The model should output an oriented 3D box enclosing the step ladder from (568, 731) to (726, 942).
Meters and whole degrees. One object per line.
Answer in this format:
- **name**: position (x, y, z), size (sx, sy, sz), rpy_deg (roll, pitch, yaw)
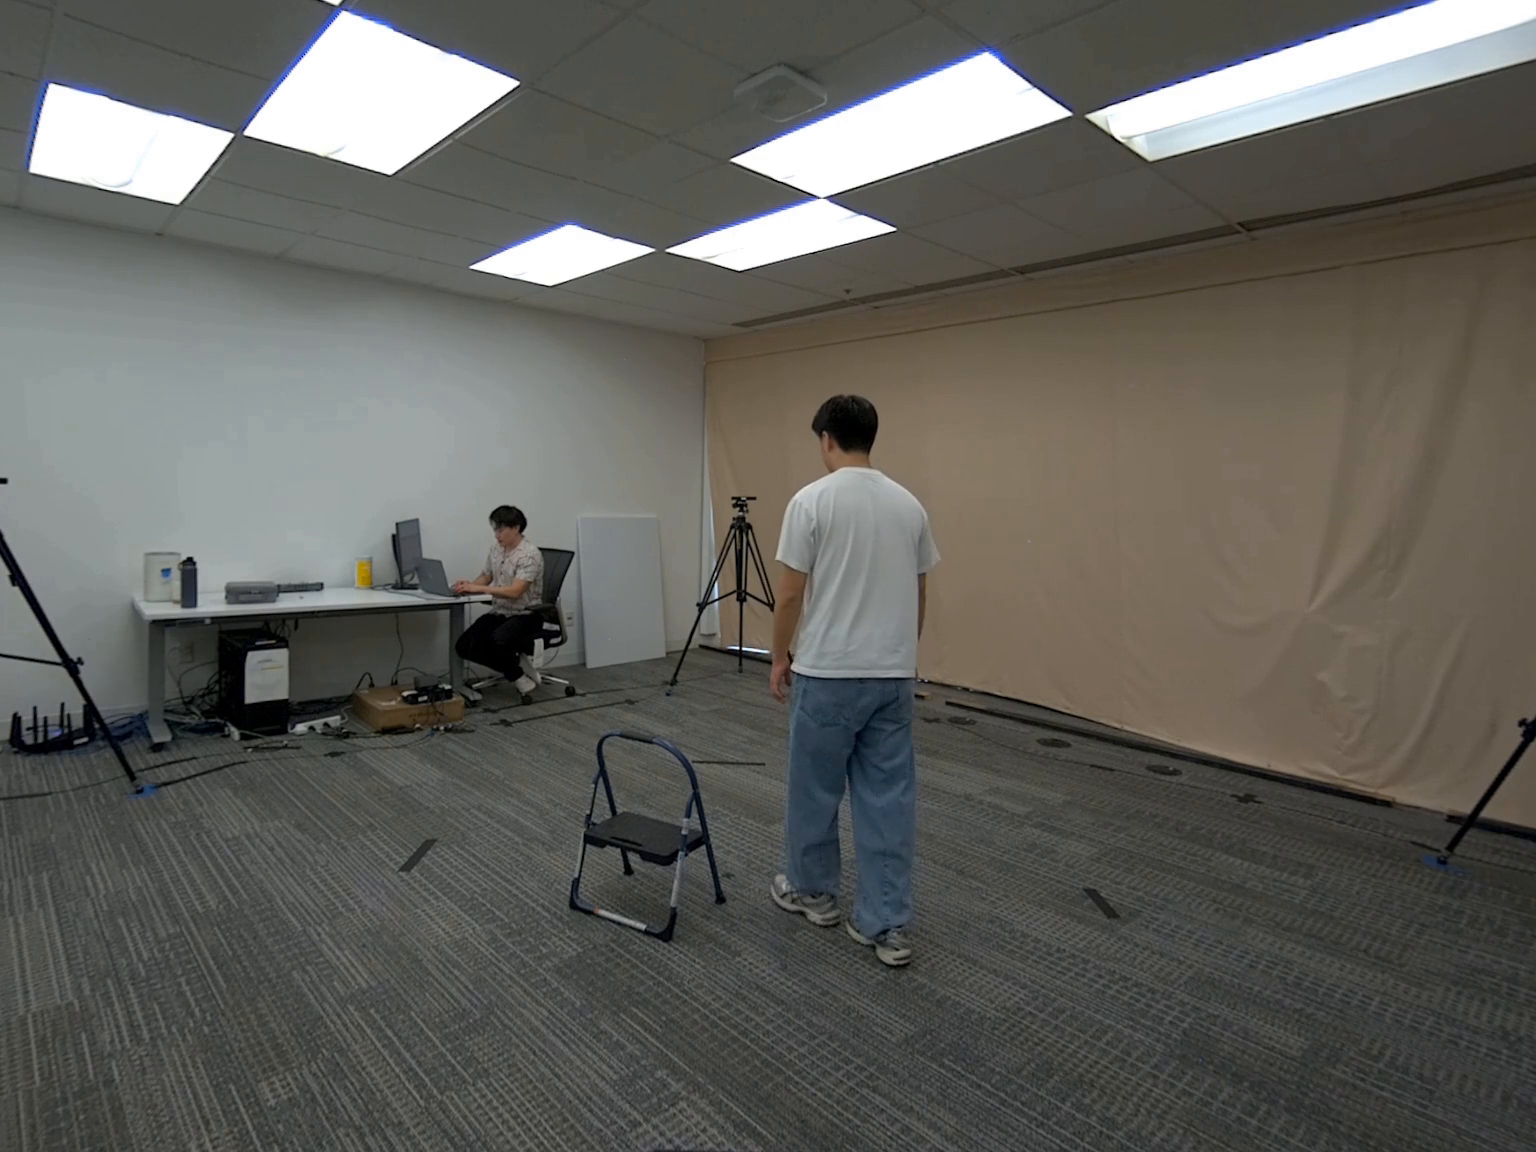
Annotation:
- **step ladder**: position (-0.408, 0.816, 2.861), size (0.440, 0.605, 0.342), rpy_deg (3, 4, 29)
